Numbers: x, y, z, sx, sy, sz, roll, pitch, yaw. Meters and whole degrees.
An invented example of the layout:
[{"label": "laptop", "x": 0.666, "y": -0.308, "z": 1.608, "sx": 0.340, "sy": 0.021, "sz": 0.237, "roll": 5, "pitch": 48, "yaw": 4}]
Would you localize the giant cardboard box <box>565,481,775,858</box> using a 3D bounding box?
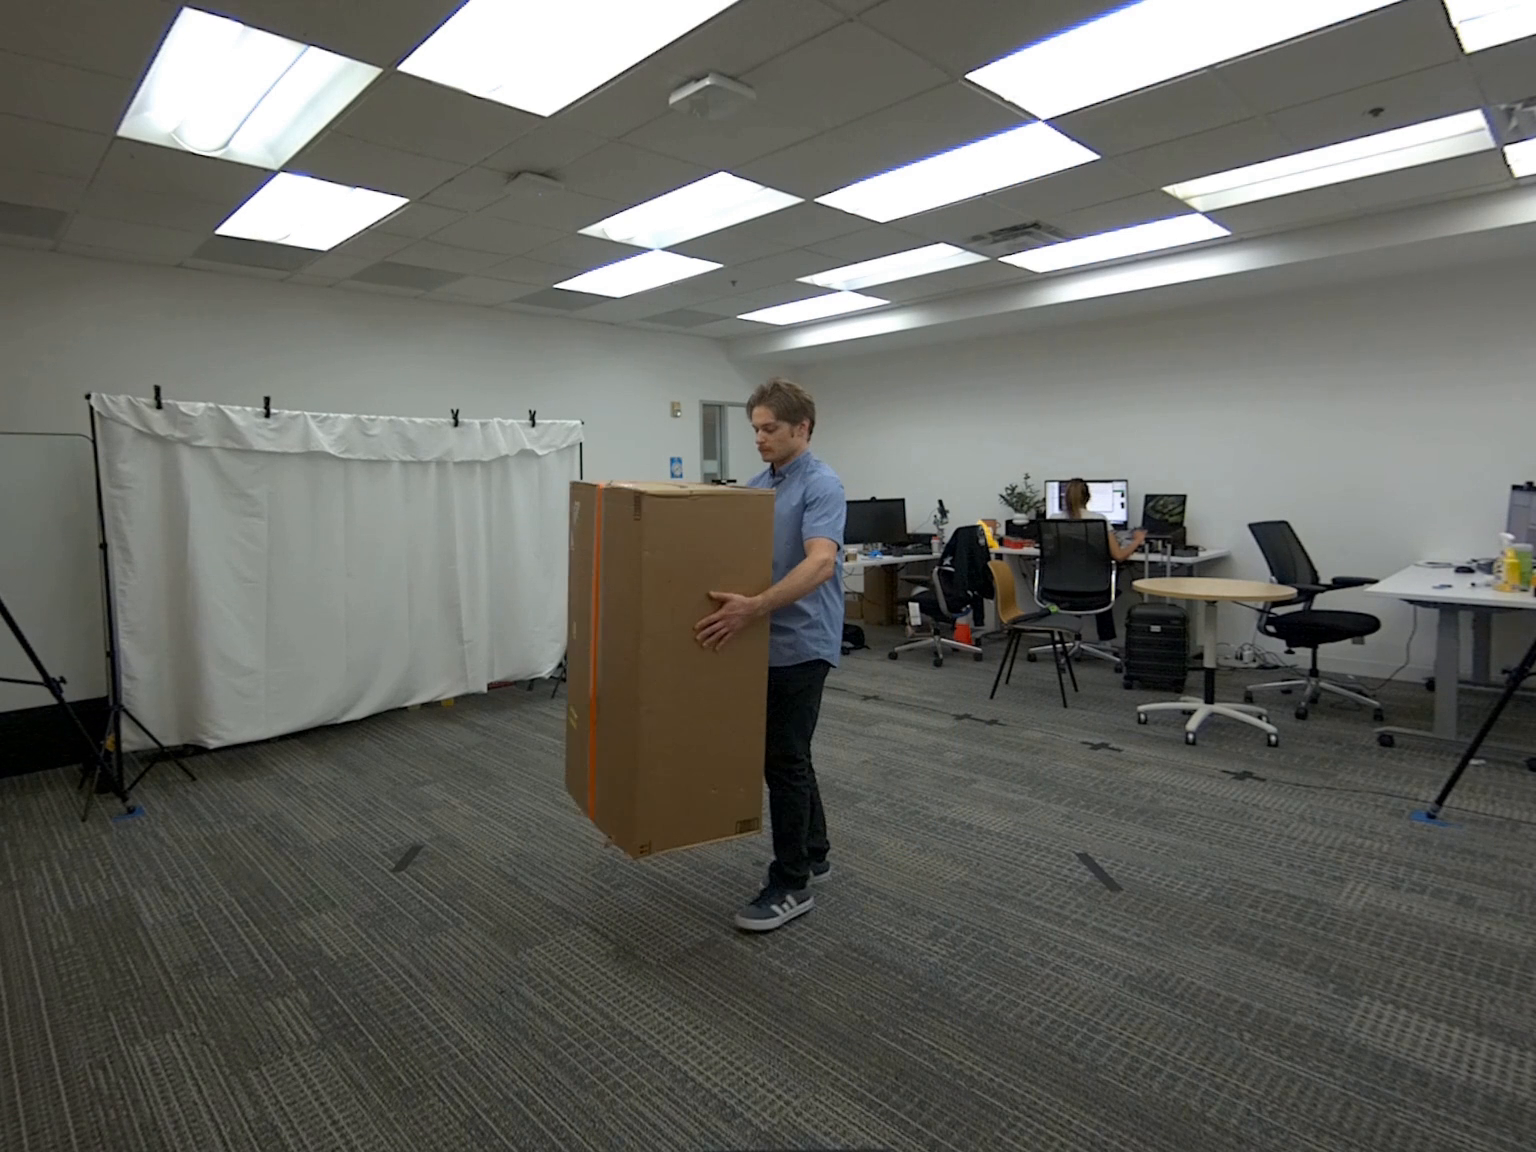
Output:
[{"label": "giant cardboard box", "x": -0.325, "y": 0.234, "z": 2.626, "sx": 0.416, "sy": 1.021, "sz": 0.595, "roll": -1, "pitch": 6, "yaw": -31}]
